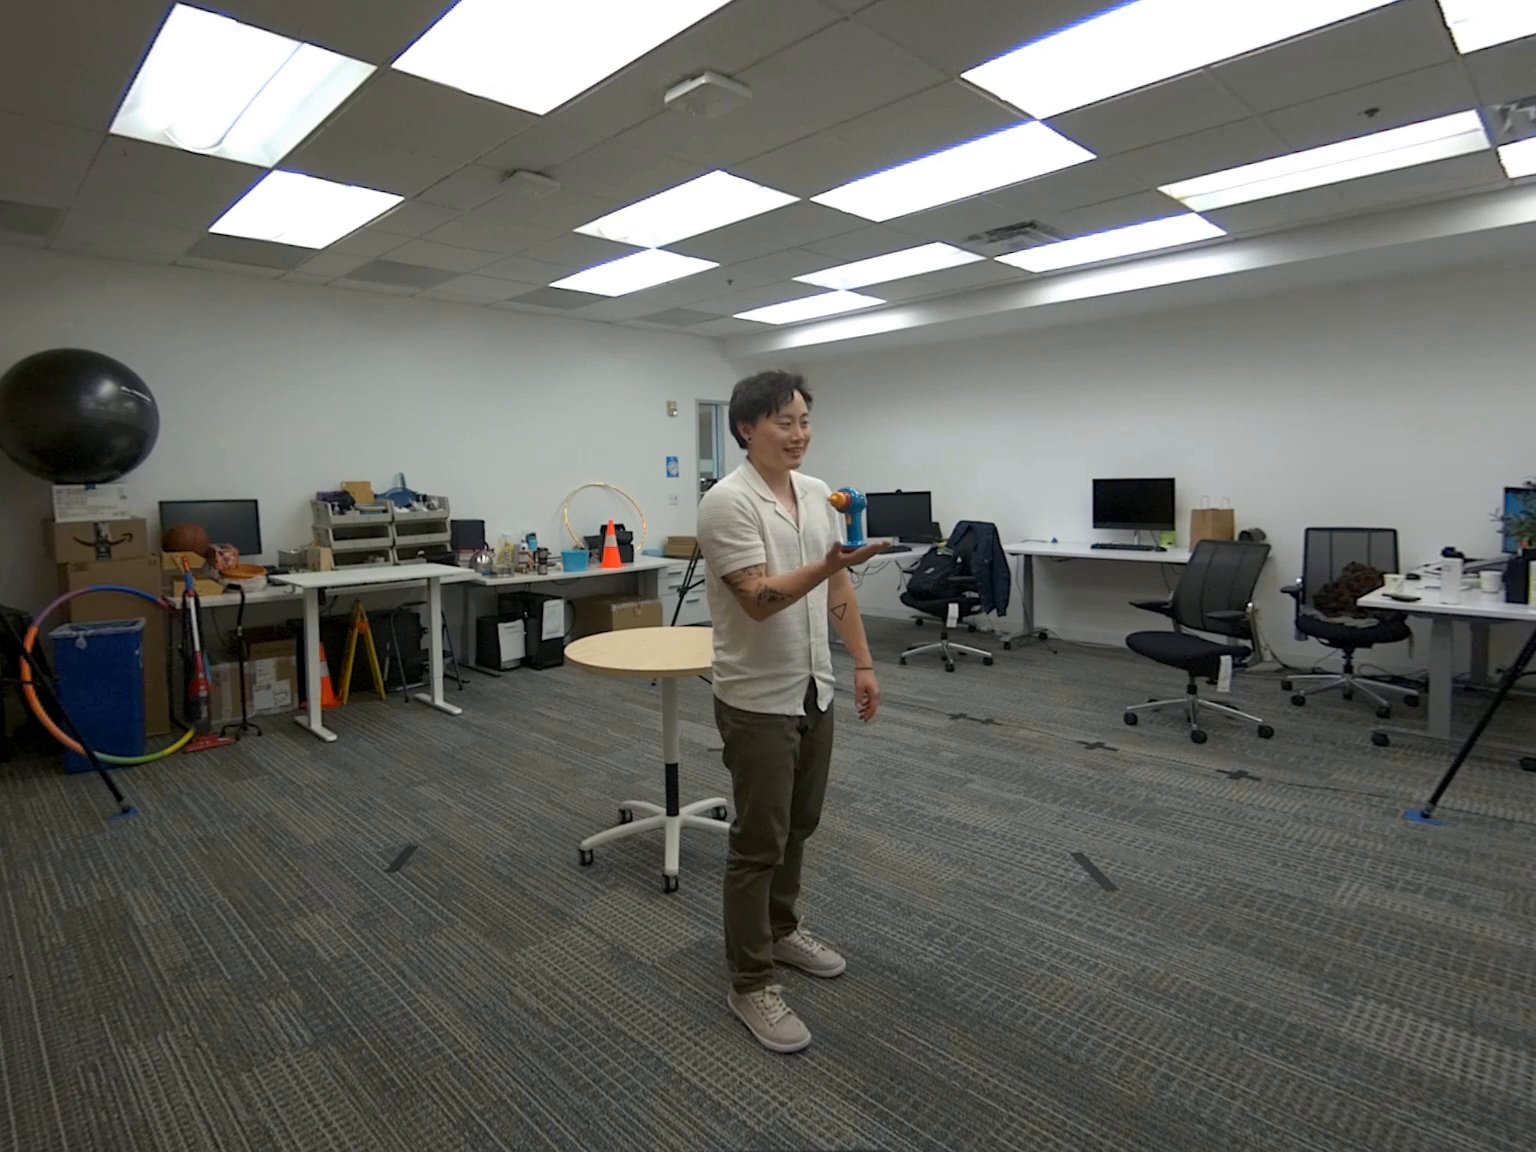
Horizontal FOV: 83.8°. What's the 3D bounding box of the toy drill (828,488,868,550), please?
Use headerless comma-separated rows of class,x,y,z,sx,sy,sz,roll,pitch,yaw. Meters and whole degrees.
toy drill,0.165,-0.129,1.920,0.063,0.146,0.165,0,1,31
